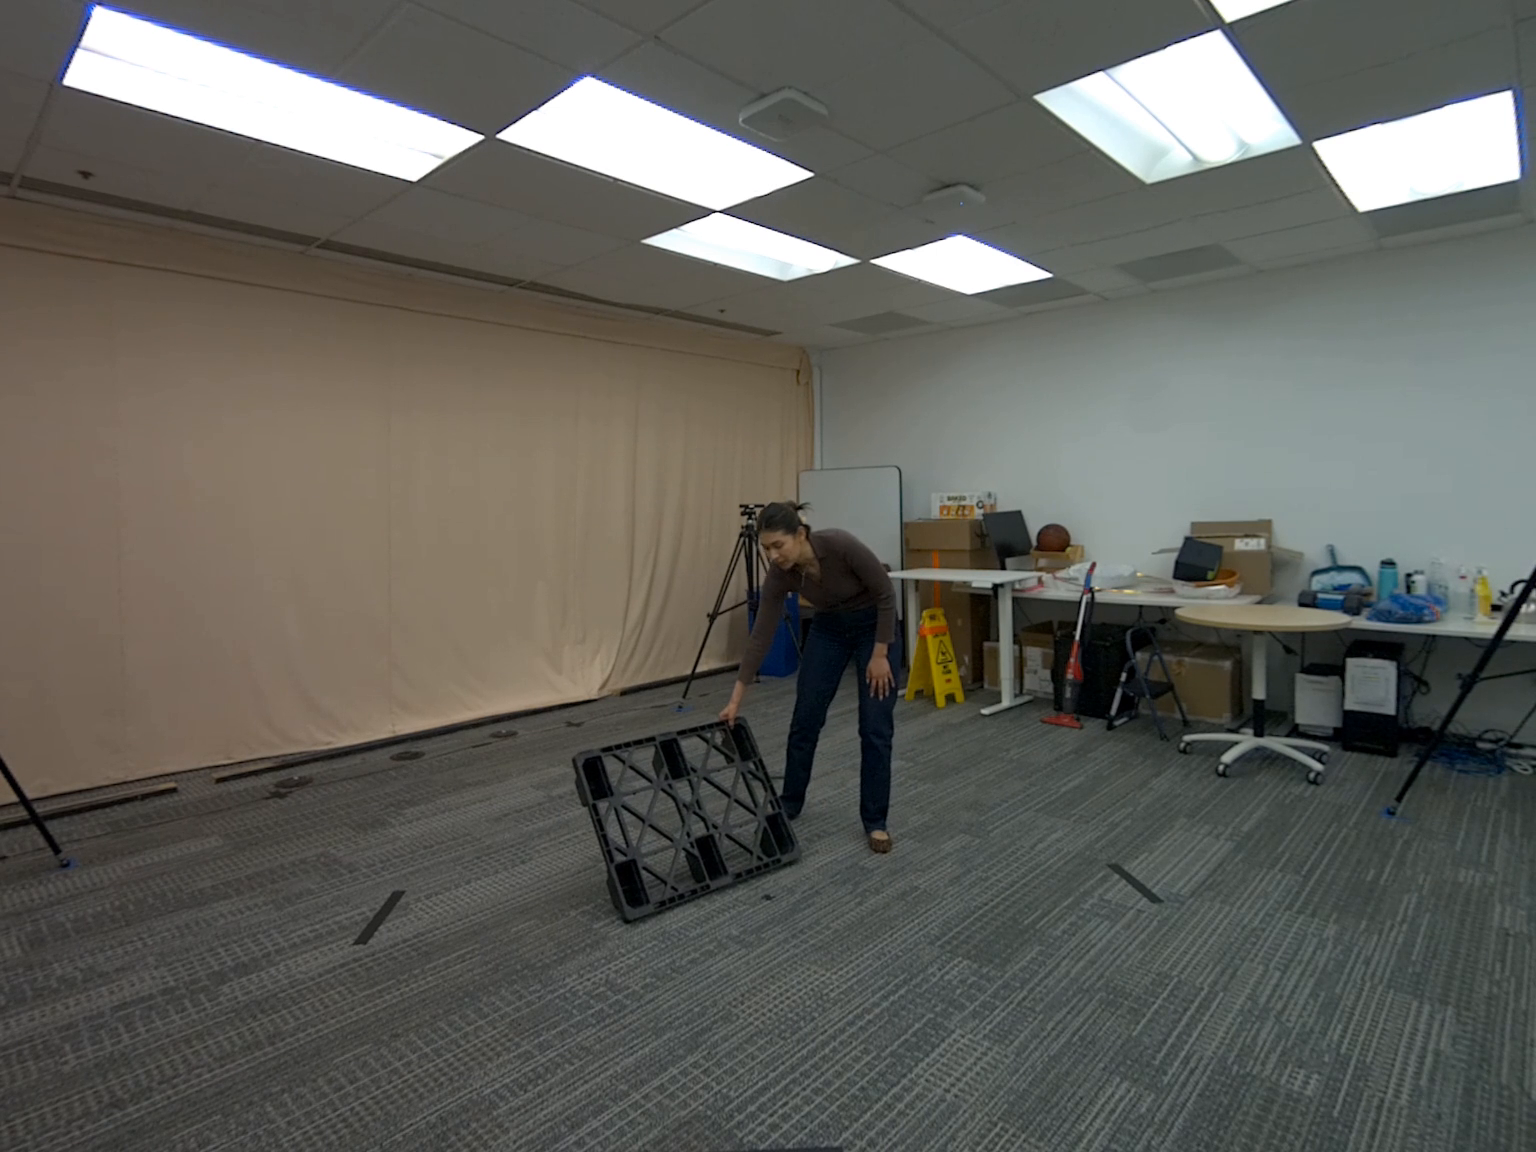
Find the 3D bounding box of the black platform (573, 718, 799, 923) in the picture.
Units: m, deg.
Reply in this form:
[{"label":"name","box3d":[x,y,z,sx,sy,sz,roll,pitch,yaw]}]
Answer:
[{"label":"black platform","box3d":[-0.312,0.902,3.193,0.782,0.618,0.144,-5,-30,-37]}]
